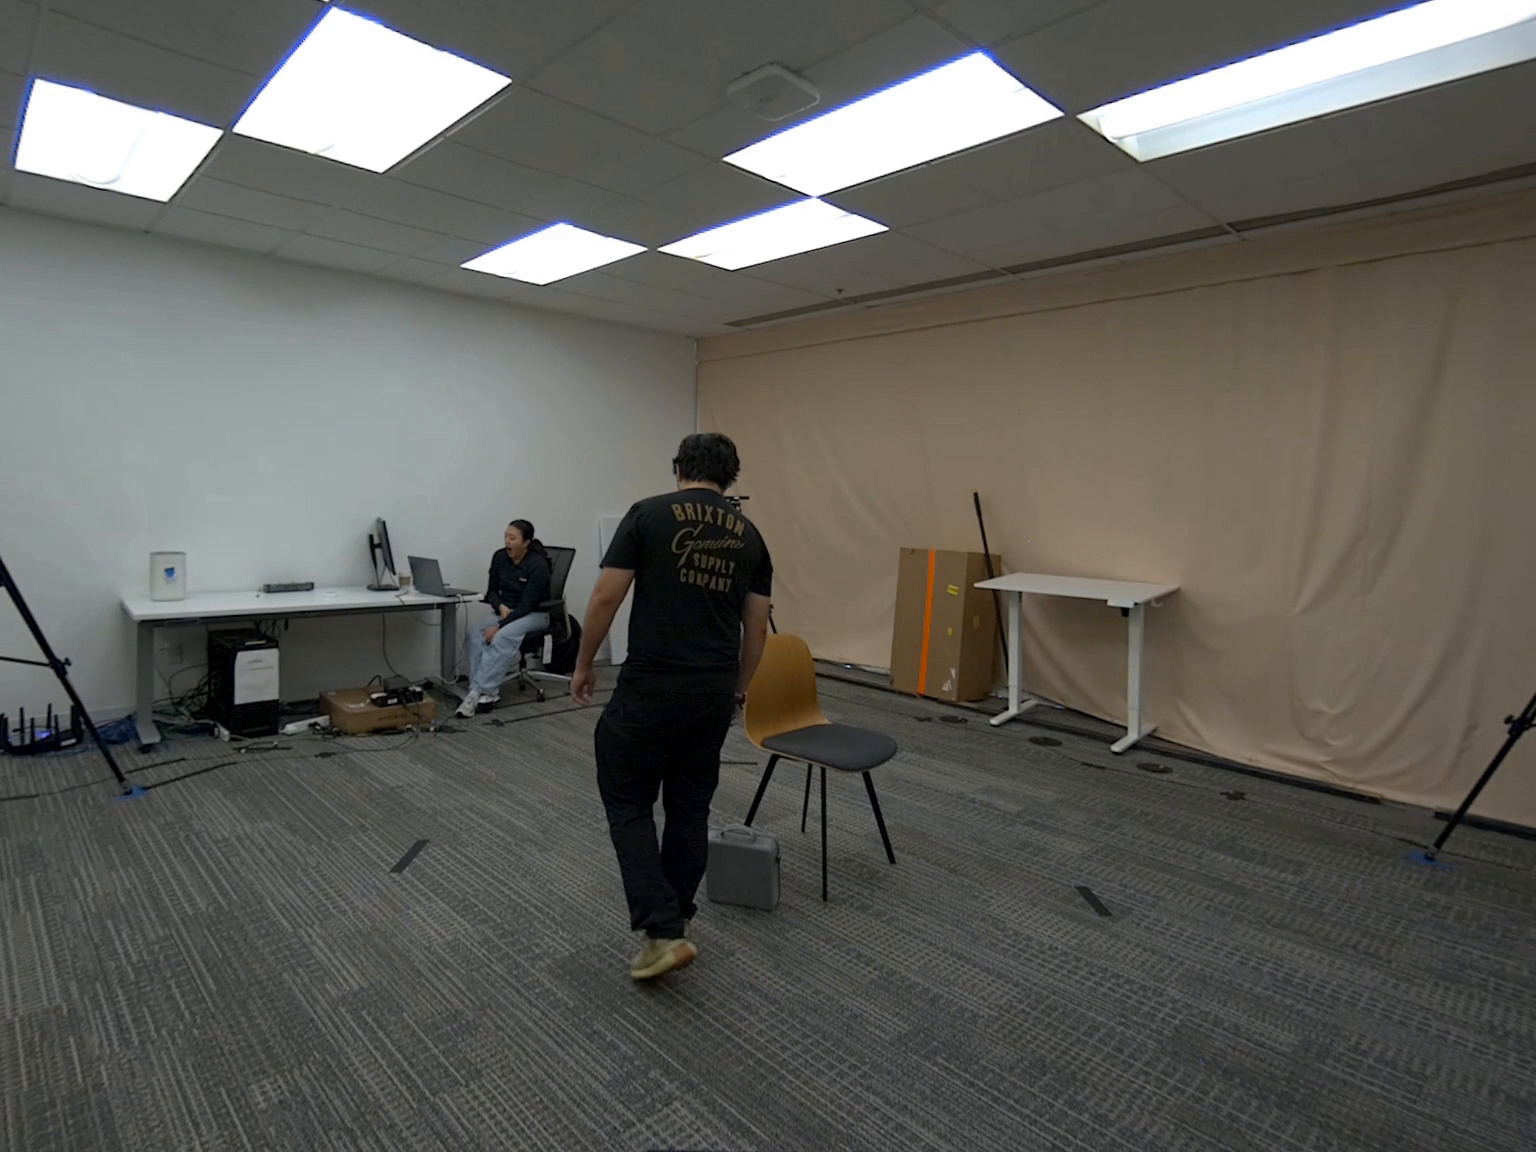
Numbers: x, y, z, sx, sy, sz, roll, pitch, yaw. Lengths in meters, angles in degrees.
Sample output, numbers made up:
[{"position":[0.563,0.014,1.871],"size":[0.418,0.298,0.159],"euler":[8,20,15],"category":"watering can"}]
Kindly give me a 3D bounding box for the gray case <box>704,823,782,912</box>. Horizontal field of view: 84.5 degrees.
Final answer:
[{"position":[-0.090,0.992,2.879],"size":[0.260,0.258,0.104],"euler":[2,14,18],"category":"gray case"}]
